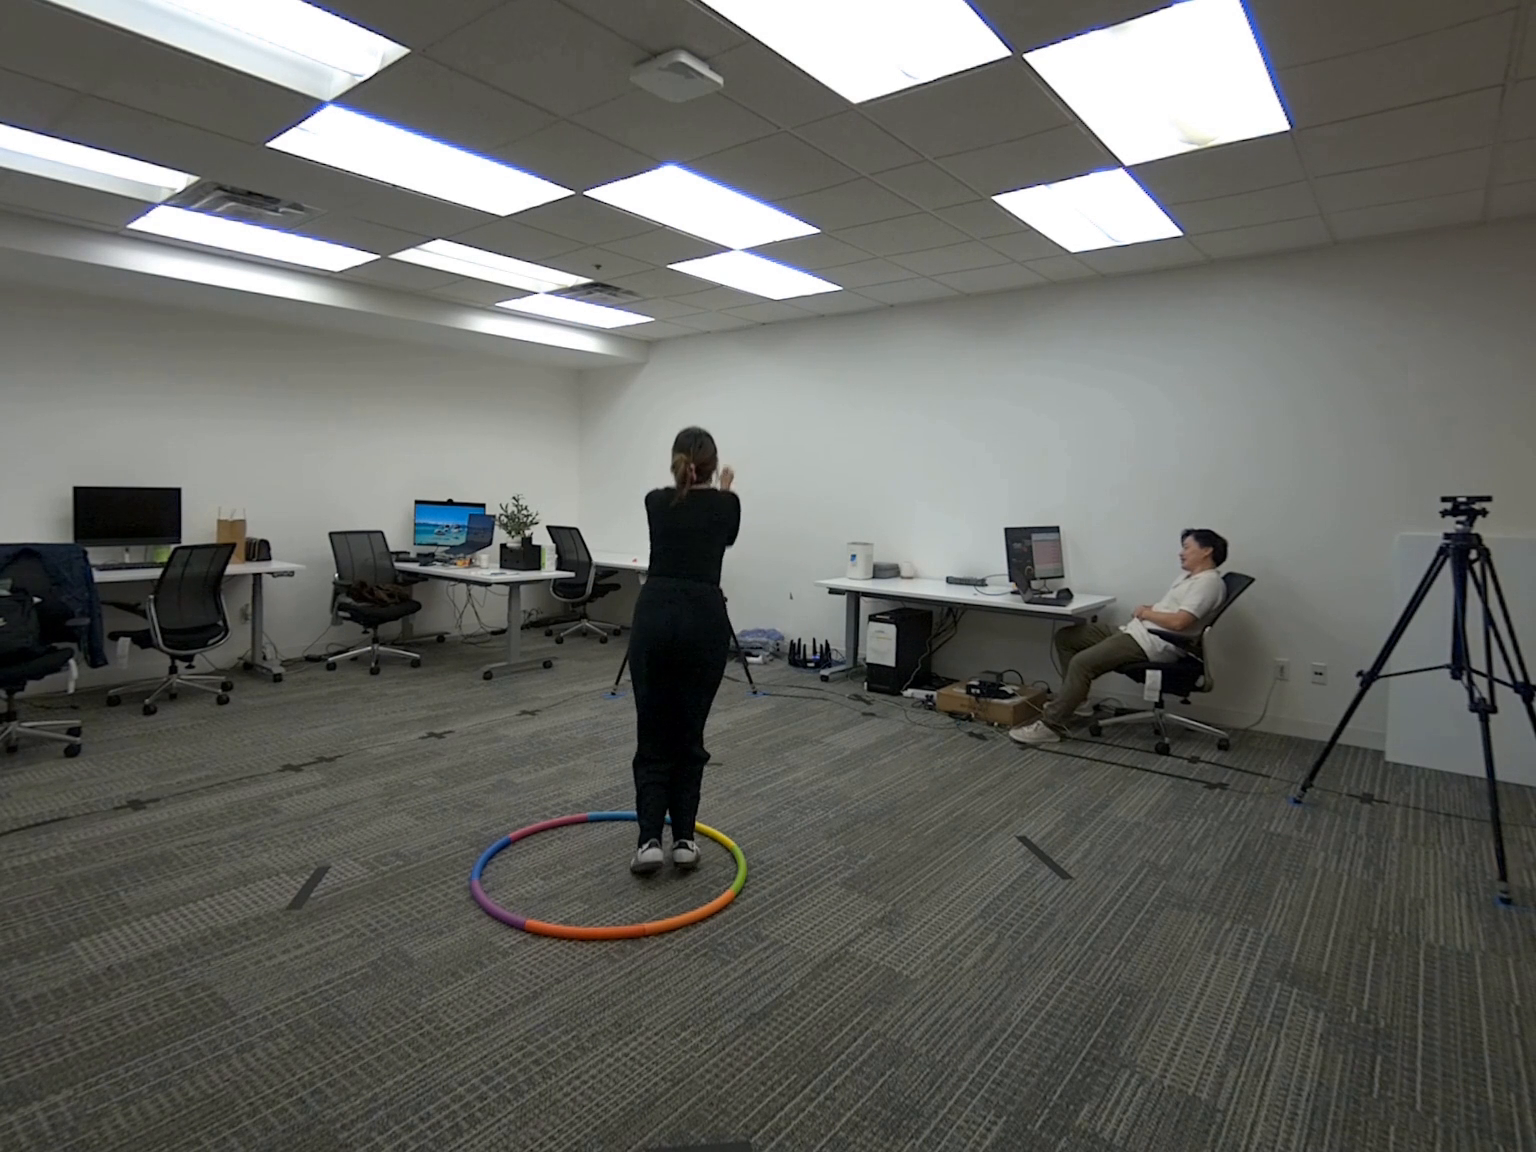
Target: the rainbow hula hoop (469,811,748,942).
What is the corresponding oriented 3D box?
[{"bbox_3d":[-0.575,1.036,3.083,0.978,0.035,0.984,1,6,-2],"label":"rainbow hula hoop"}]
